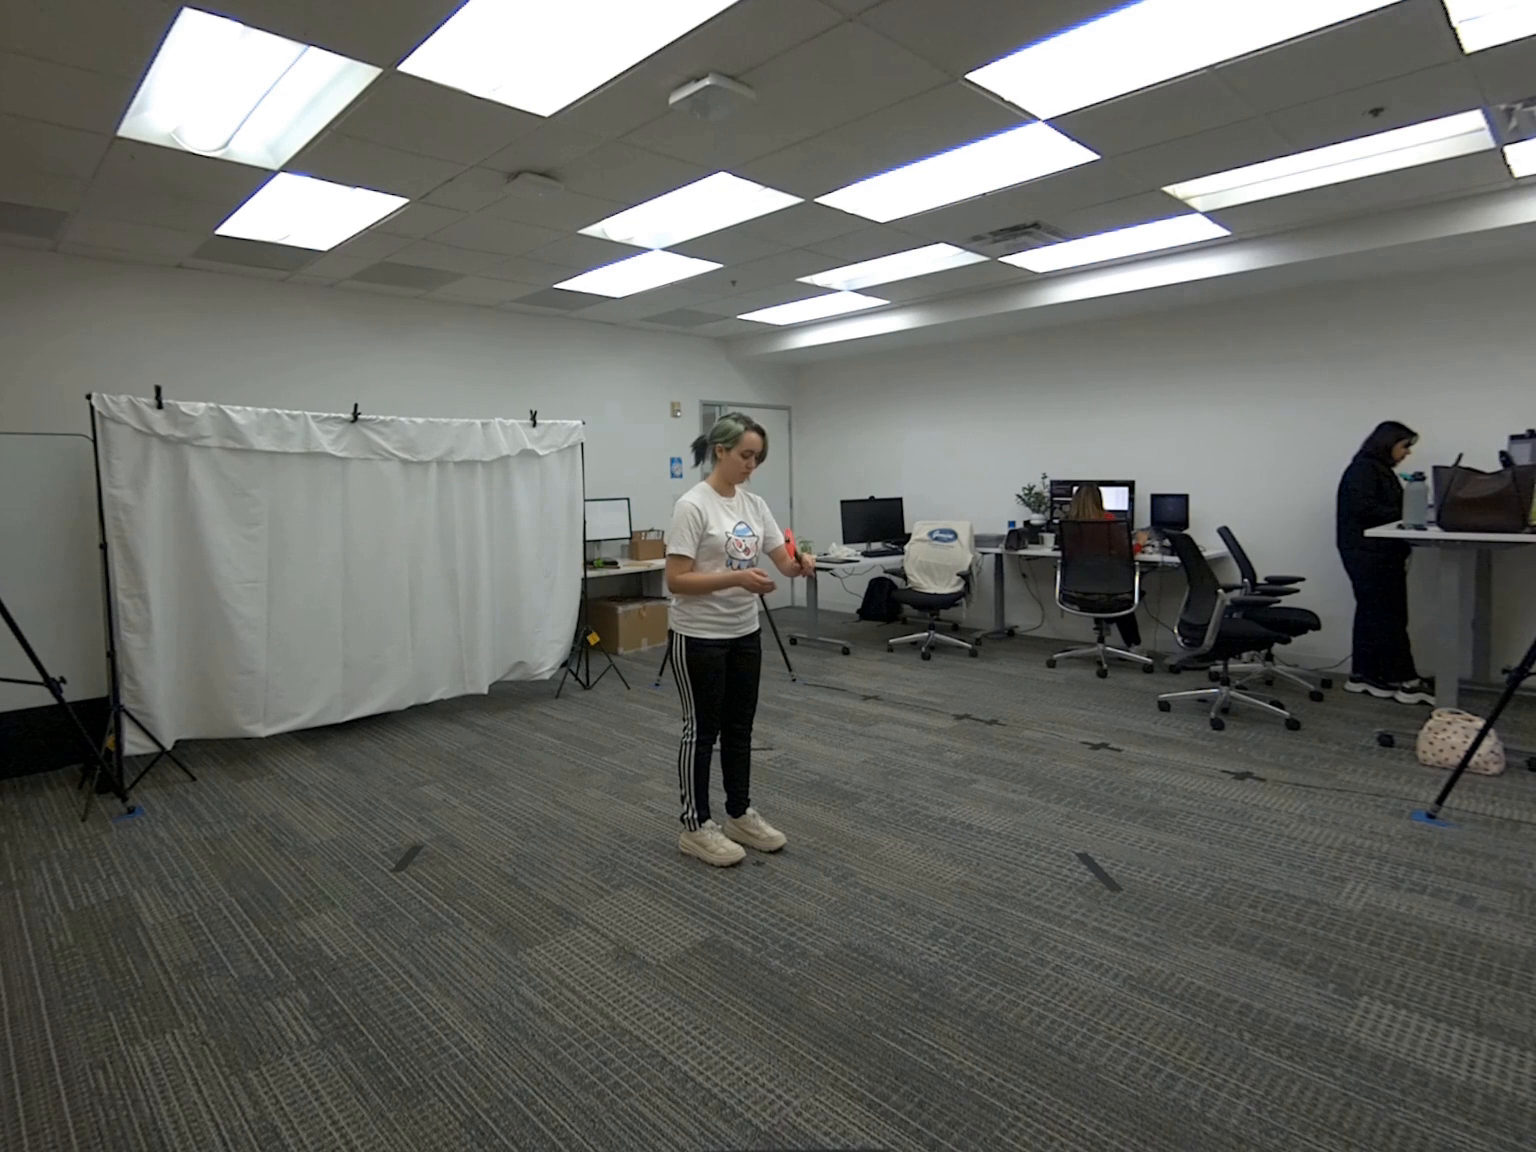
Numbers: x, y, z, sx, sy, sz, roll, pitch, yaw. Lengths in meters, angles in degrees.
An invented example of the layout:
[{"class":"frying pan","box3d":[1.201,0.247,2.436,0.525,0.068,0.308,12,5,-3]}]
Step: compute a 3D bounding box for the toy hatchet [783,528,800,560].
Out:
[{"class":"toy hatchet","box3d":[0.106,-0.077,2.934,0.030,0.134,0.261,-19,-21,13]}]
